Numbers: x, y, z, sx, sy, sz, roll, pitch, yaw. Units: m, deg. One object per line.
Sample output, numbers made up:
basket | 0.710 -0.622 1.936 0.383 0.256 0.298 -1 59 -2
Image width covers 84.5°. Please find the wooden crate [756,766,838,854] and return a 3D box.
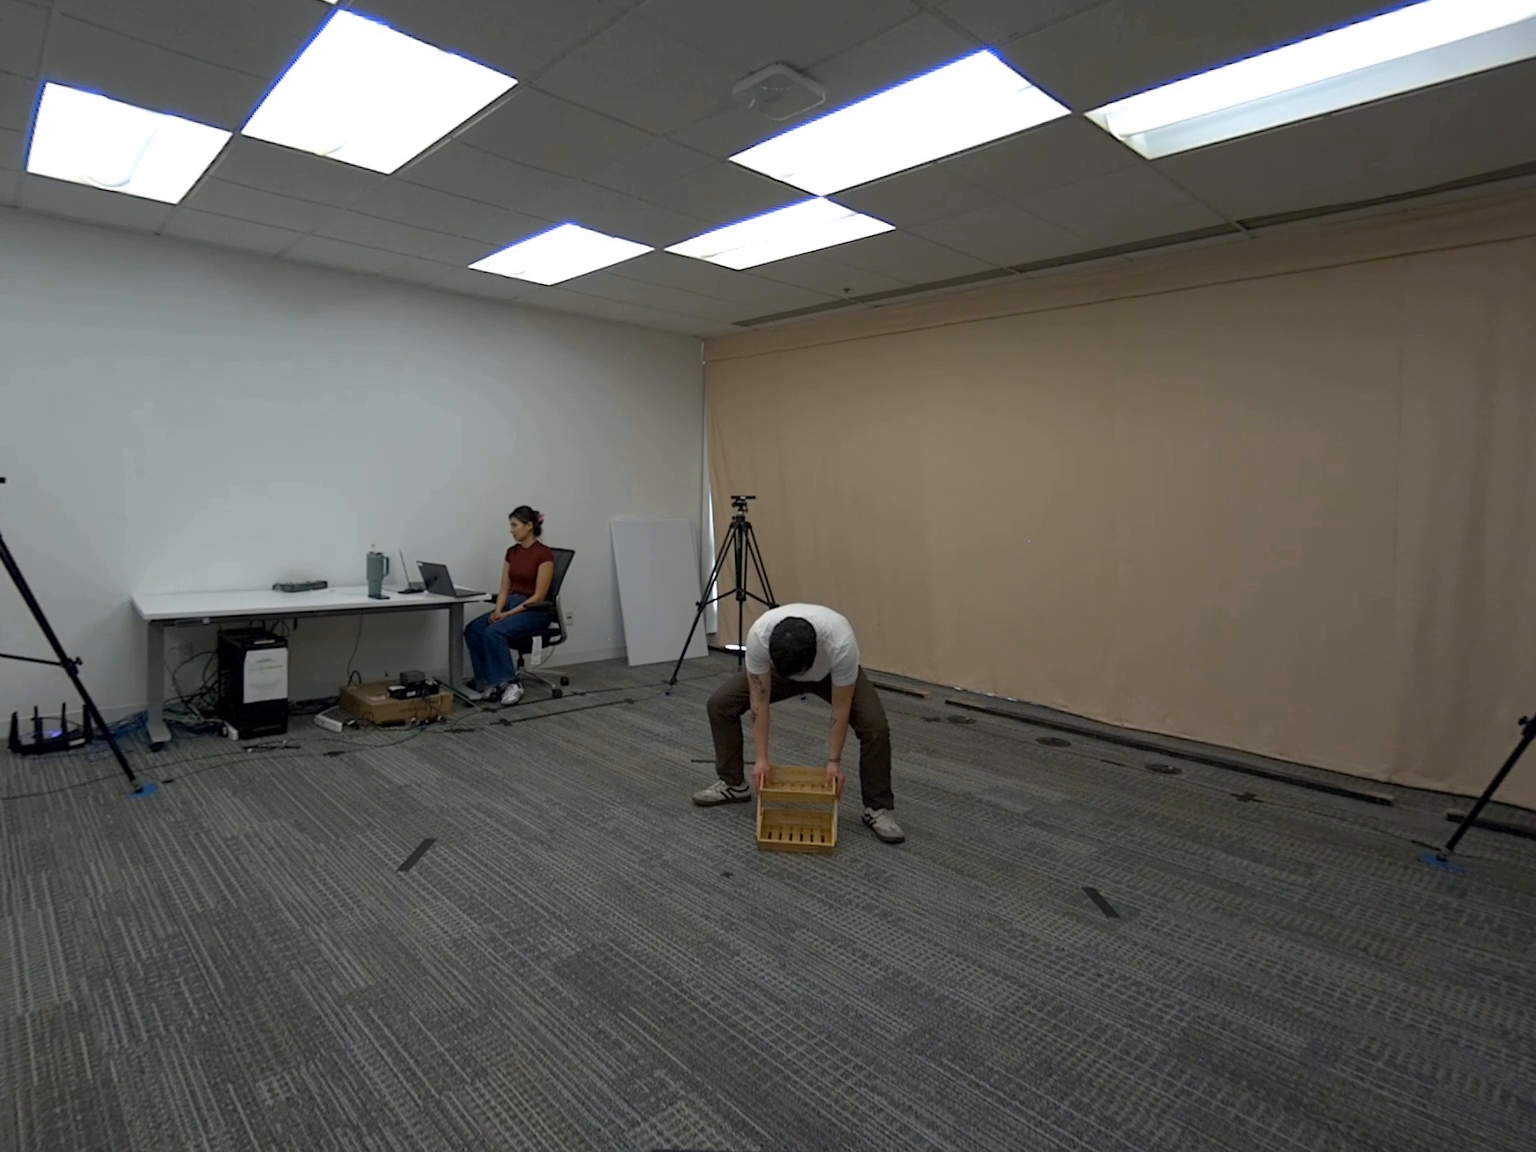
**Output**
wooden crate | 0.113 0.948 3.435 0.326 0.273 0.301 2 3 4
